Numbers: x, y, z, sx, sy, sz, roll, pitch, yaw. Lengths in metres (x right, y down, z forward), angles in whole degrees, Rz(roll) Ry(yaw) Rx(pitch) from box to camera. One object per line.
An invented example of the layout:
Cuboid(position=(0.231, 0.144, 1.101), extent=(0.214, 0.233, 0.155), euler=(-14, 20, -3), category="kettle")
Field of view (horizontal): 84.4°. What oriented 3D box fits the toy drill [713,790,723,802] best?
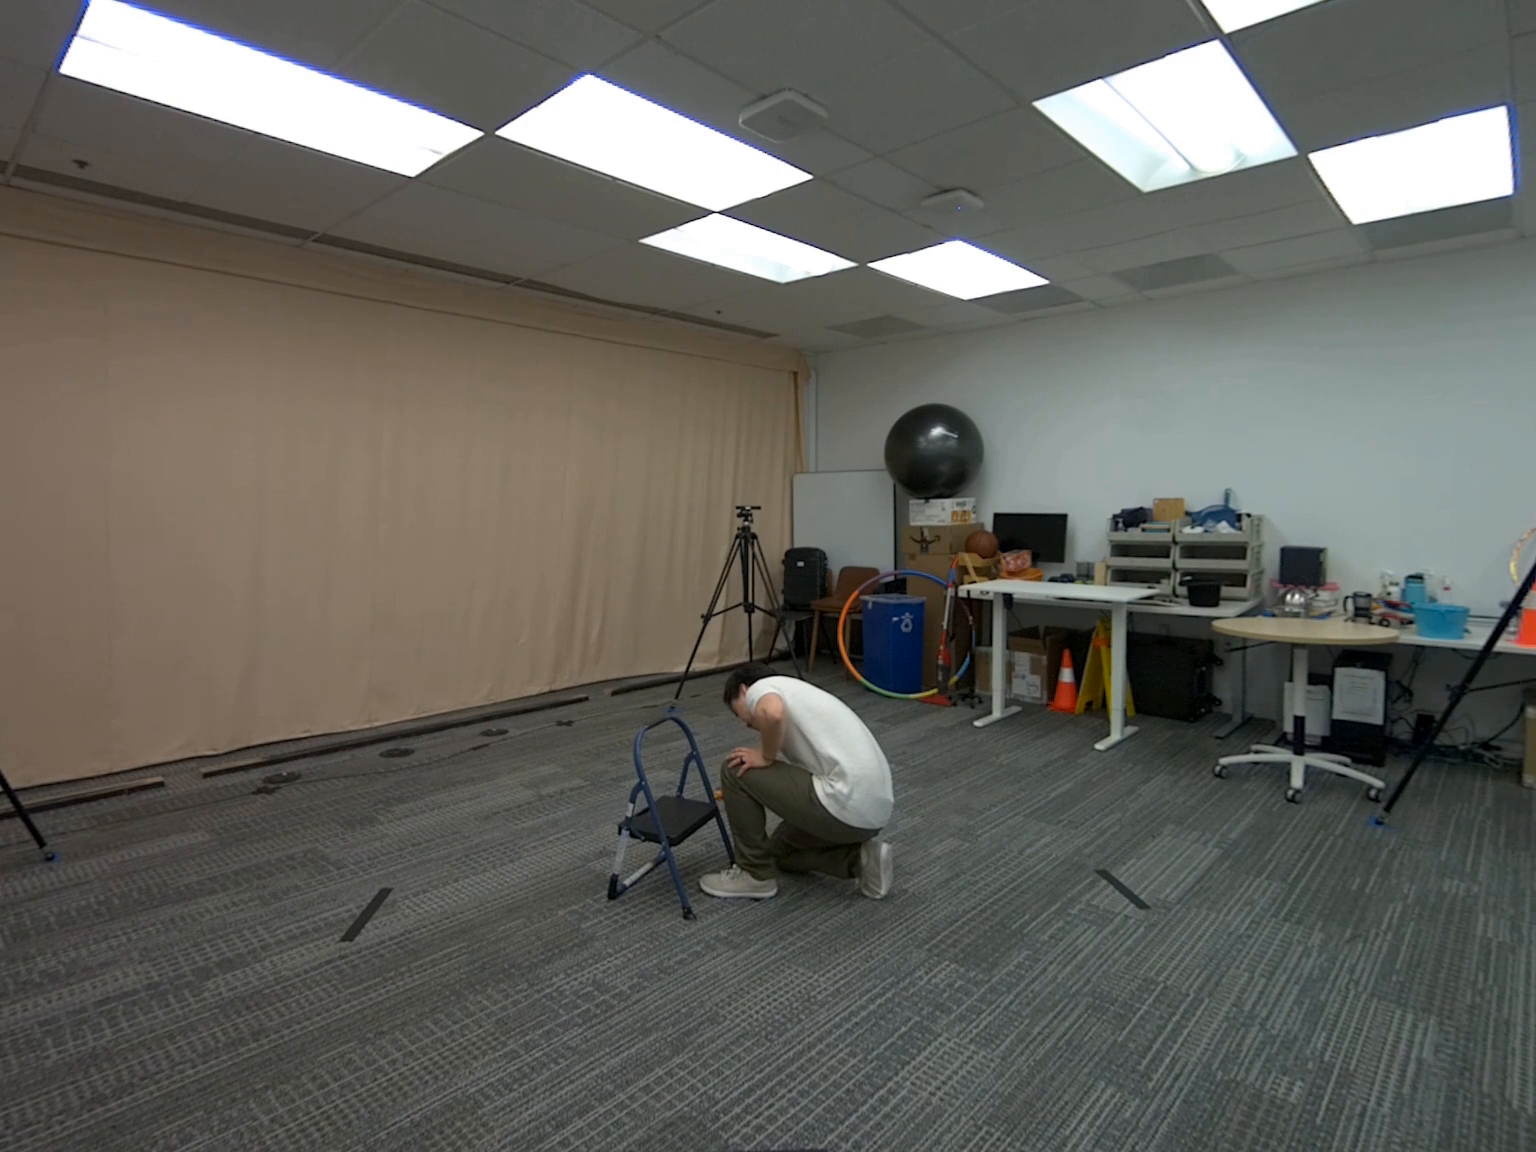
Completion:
Cuboid(position=(-0.141, 0.886, 3.340), extent=(0.149, 0.061, 0.167), euler=(28, 20, 16), category="toy drill")
